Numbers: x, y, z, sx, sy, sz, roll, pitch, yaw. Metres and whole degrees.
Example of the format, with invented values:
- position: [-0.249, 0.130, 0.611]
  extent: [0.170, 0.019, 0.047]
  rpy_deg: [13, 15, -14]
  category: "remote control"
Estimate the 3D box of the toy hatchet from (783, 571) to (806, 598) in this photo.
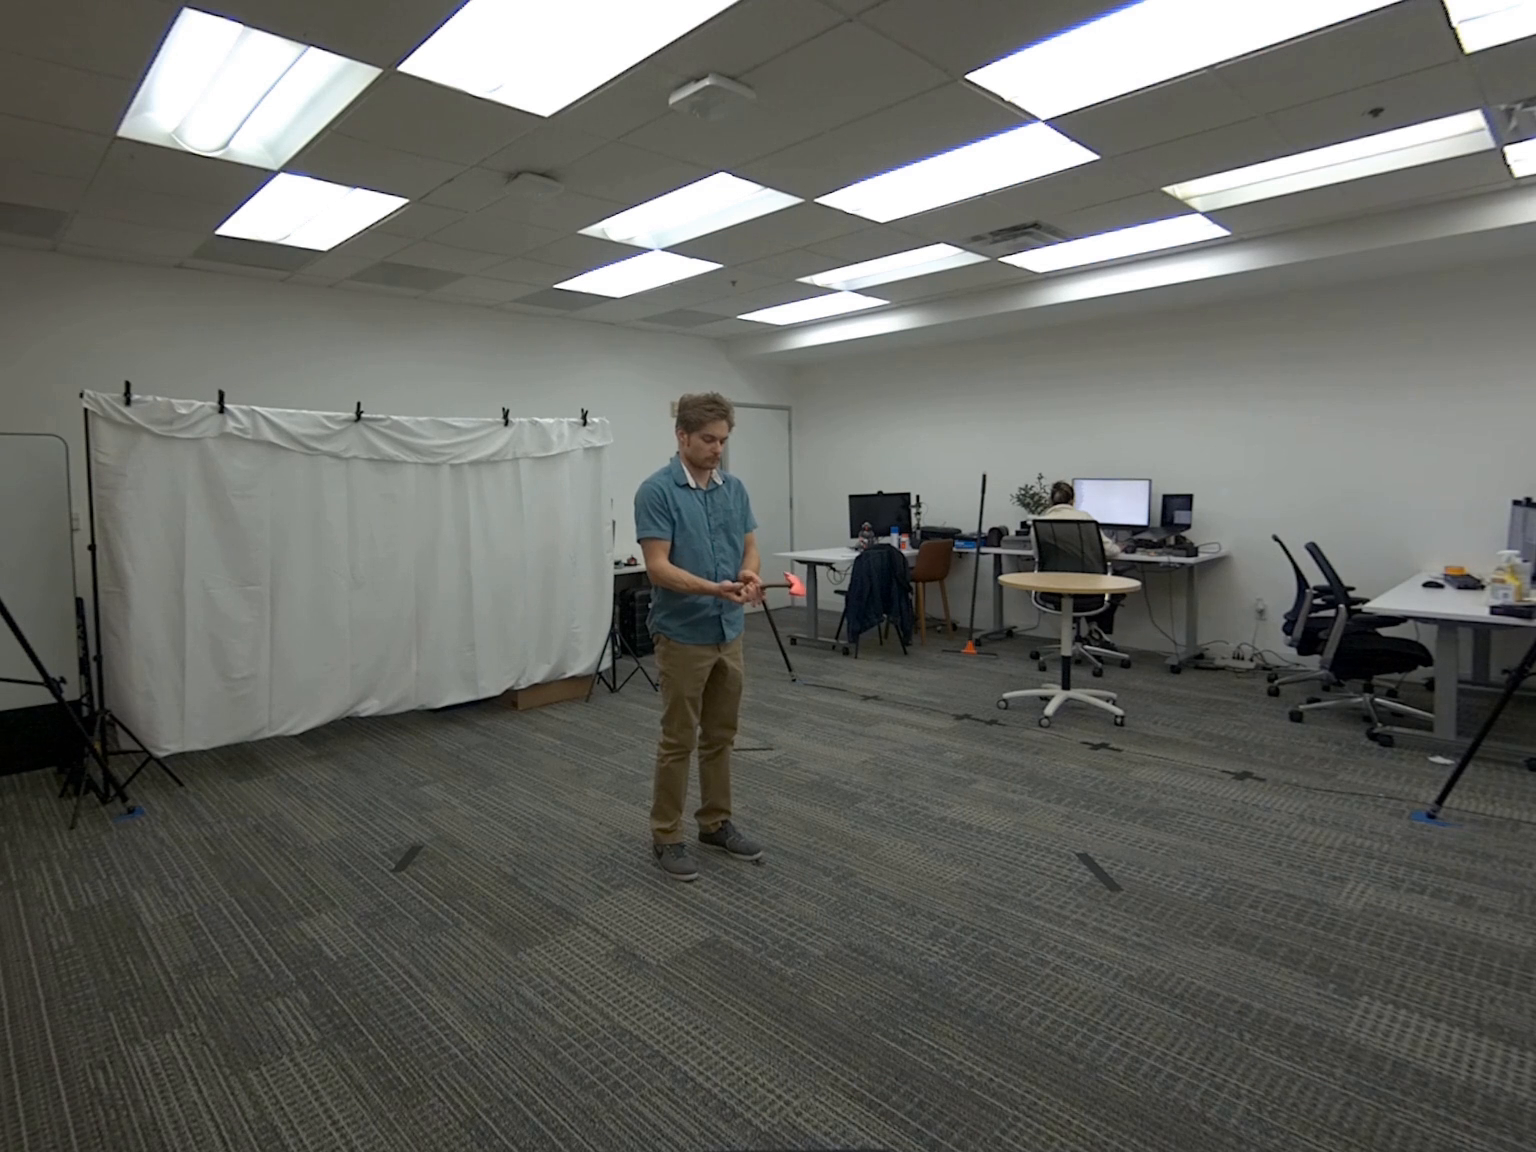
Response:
- position: [0.023, 0.041, 2.804]
  extent: [0.264, 0.029, 0.136]
  rpy_deg: [-12, 44, -46]
  category: "toy hatchet"
